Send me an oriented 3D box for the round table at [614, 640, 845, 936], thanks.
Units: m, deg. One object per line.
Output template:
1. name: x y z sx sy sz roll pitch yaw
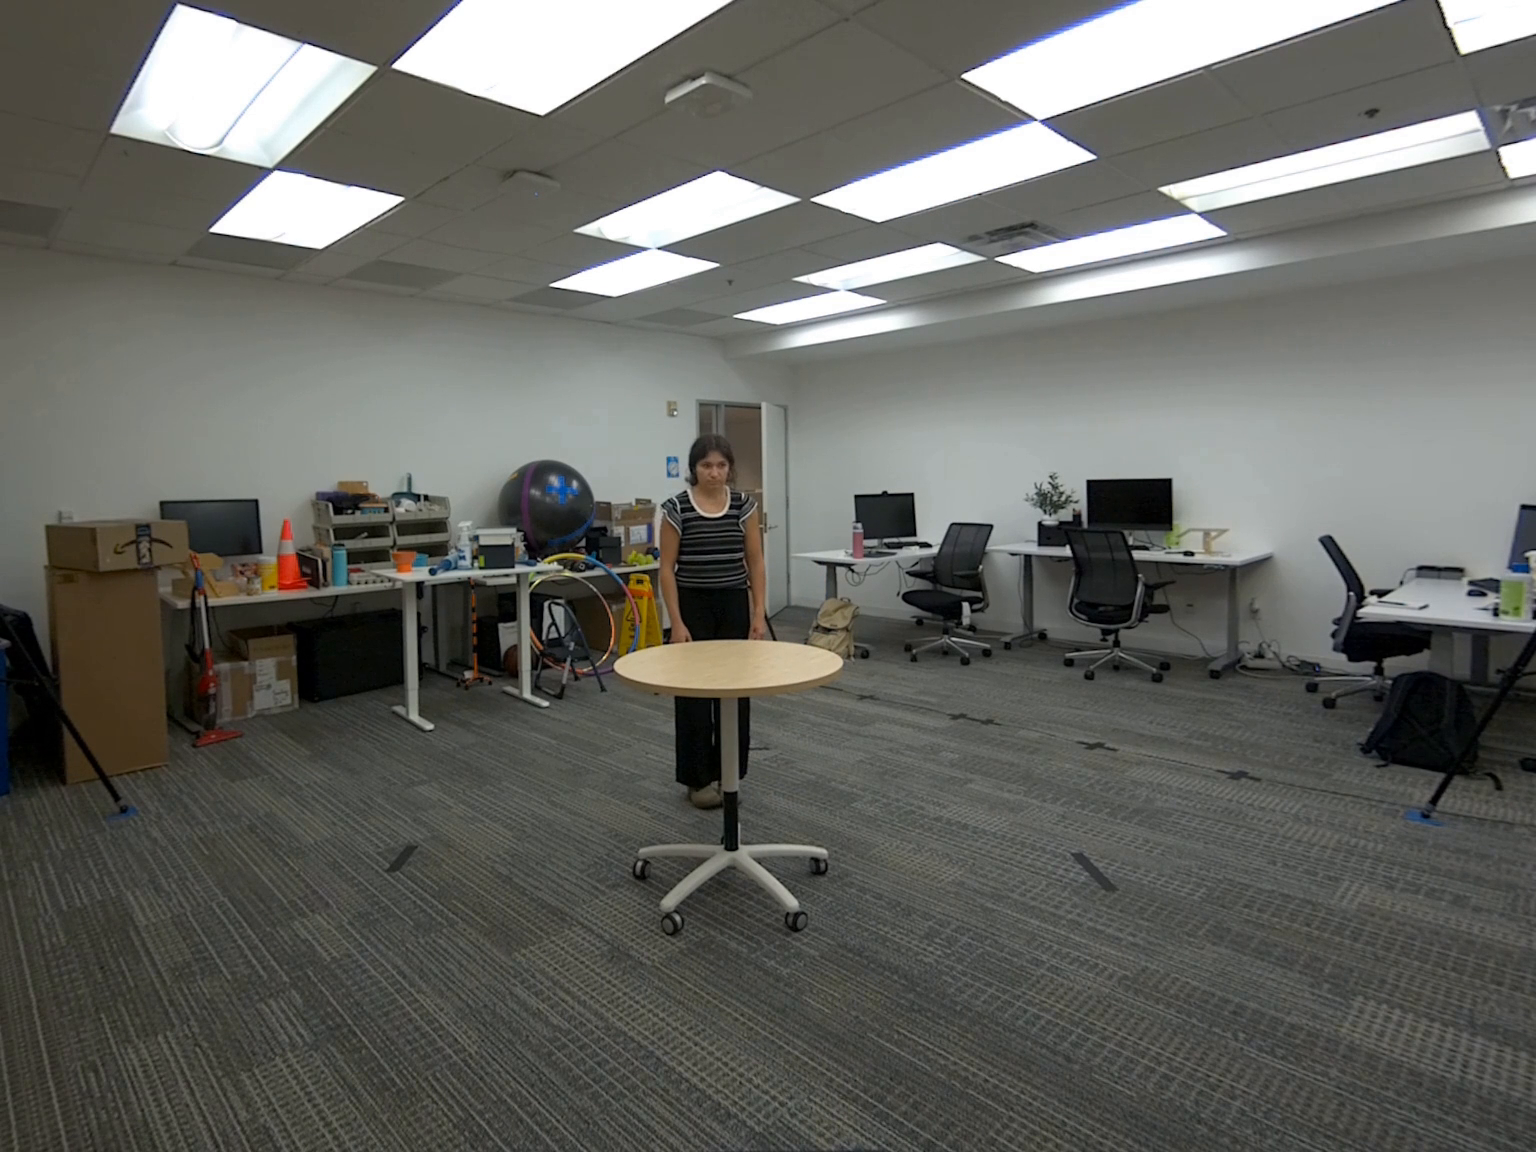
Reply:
1. round table: -0.112 0.680 2.894 0.784 0.784 0.789 -1 5 -2
